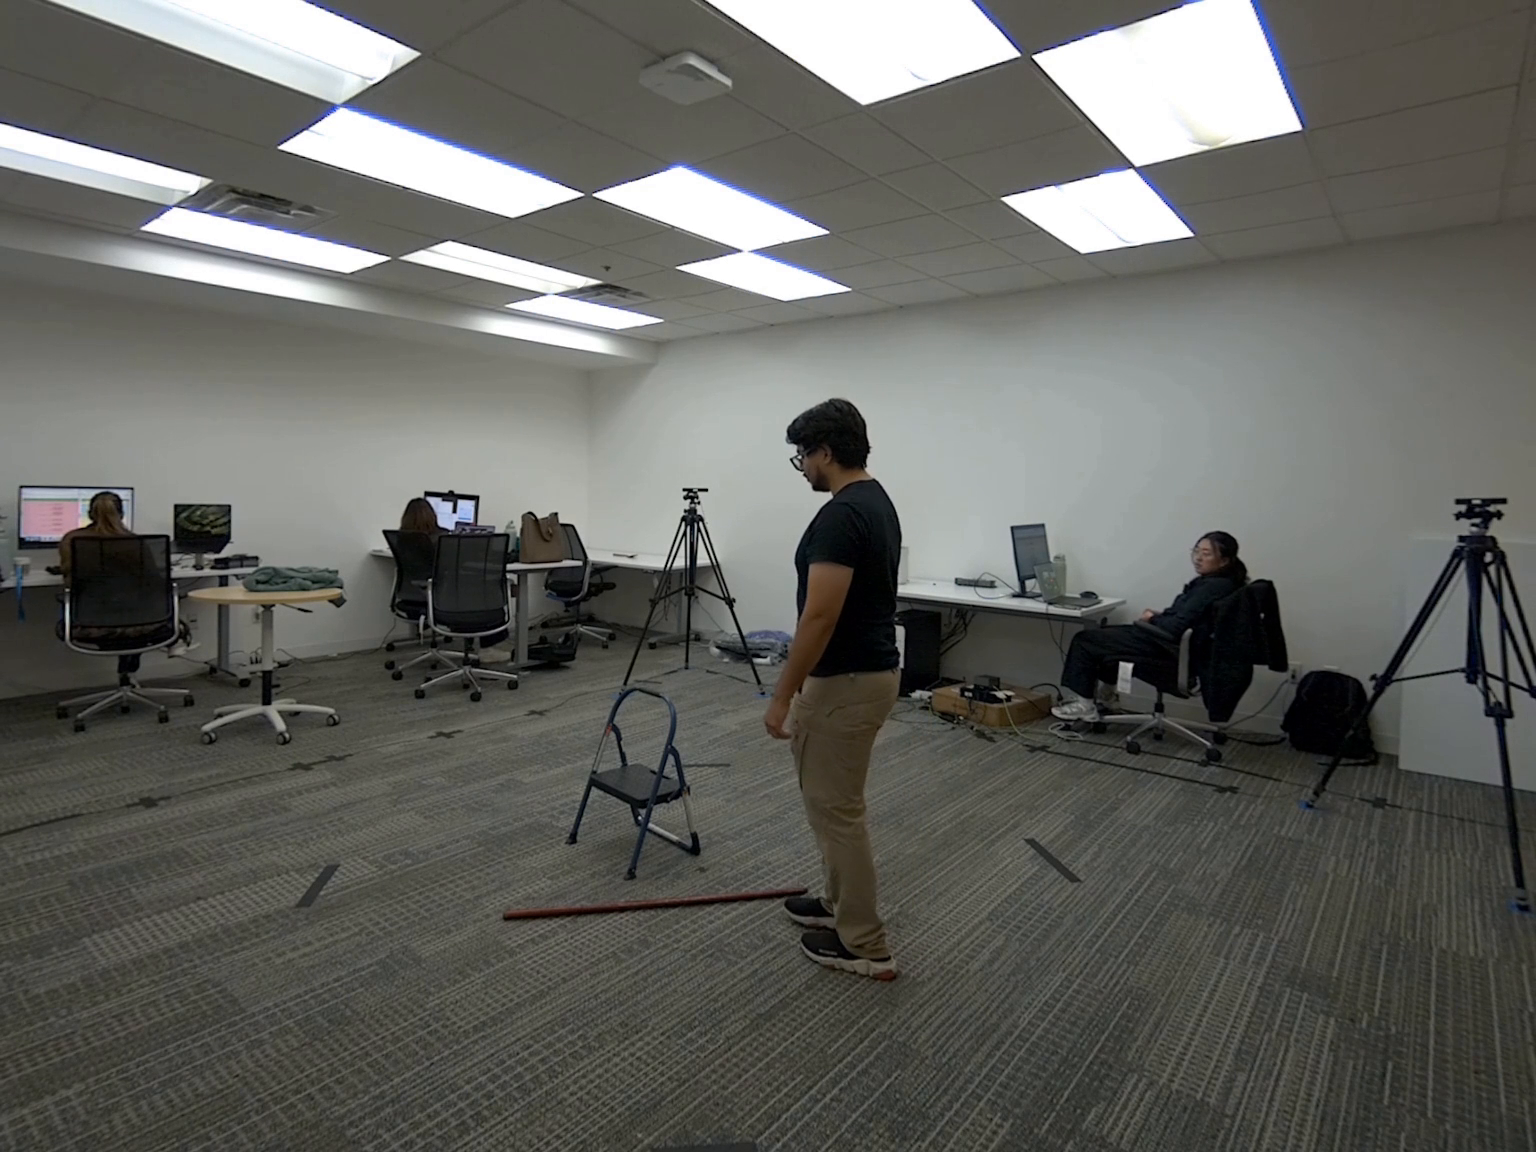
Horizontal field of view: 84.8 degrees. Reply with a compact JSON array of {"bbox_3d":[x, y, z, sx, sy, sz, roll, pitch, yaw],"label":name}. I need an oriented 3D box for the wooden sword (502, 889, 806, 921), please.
[{"bbox_3d":[-0.359,1.070,2.829,1.012,0.024,0.051,0,-4,-12],"label":"wooden sword"}]
